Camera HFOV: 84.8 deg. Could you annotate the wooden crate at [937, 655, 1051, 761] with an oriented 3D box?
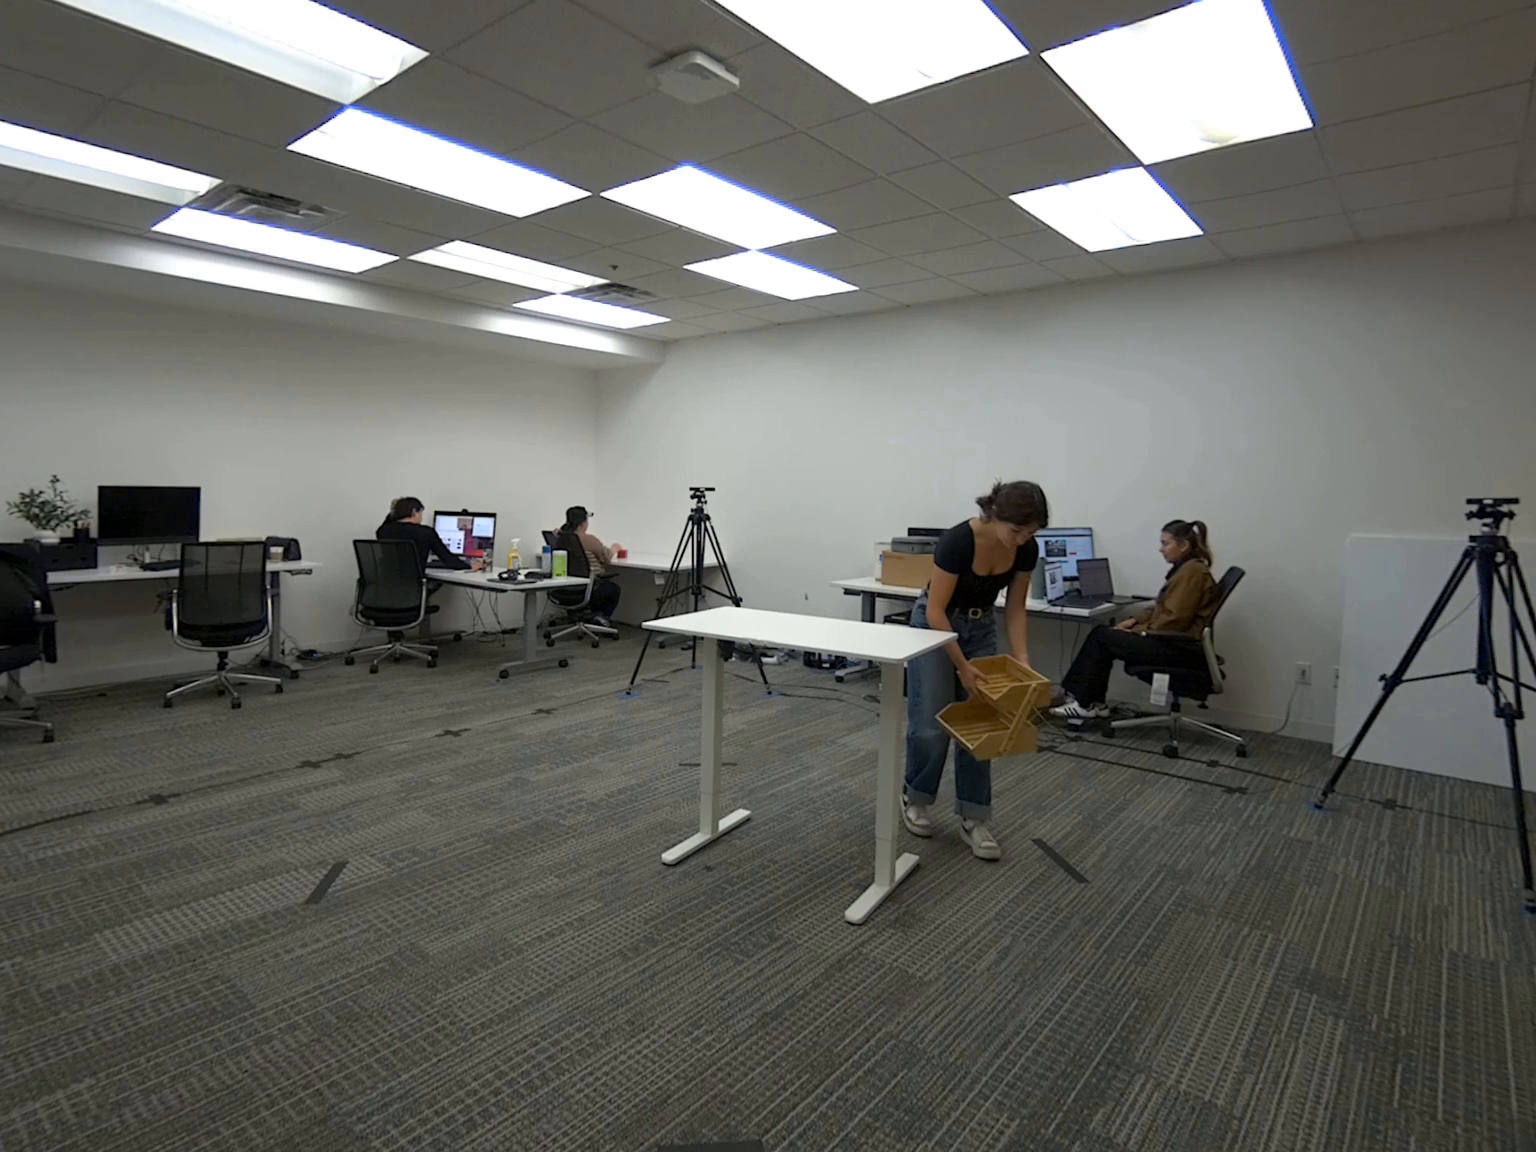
[{"bbox_3d":[0.815,0.472,3.148,0.300,0.270,0.331,-7,12,-9],"label":"wooden crate"}]
